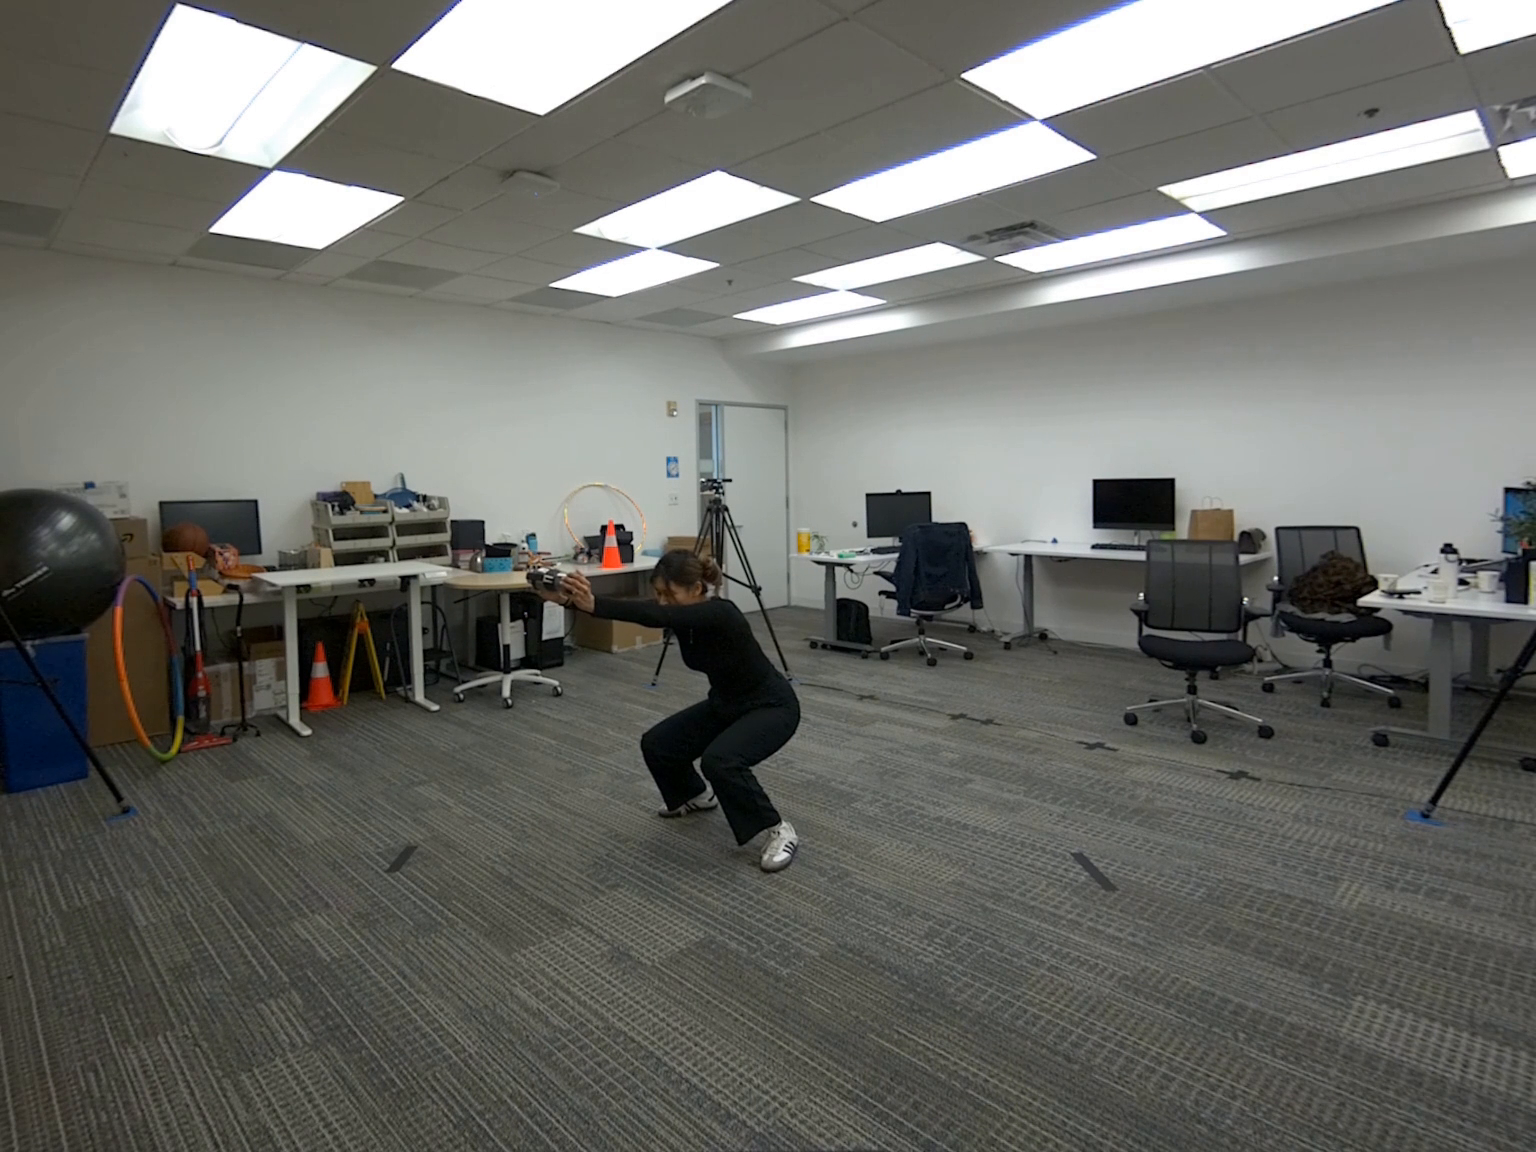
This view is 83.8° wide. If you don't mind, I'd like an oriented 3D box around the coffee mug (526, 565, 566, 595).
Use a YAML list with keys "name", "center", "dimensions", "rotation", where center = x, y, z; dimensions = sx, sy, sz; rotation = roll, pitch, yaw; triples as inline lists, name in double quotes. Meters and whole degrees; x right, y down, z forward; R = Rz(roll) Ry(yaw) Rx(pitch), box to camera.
- name: "coffee mug"
  center: [-0.717, 0.023, 2.841]
  dimensions: [0.119, 0.087, 0.209]
  rotation: [-12, 12, -33]
